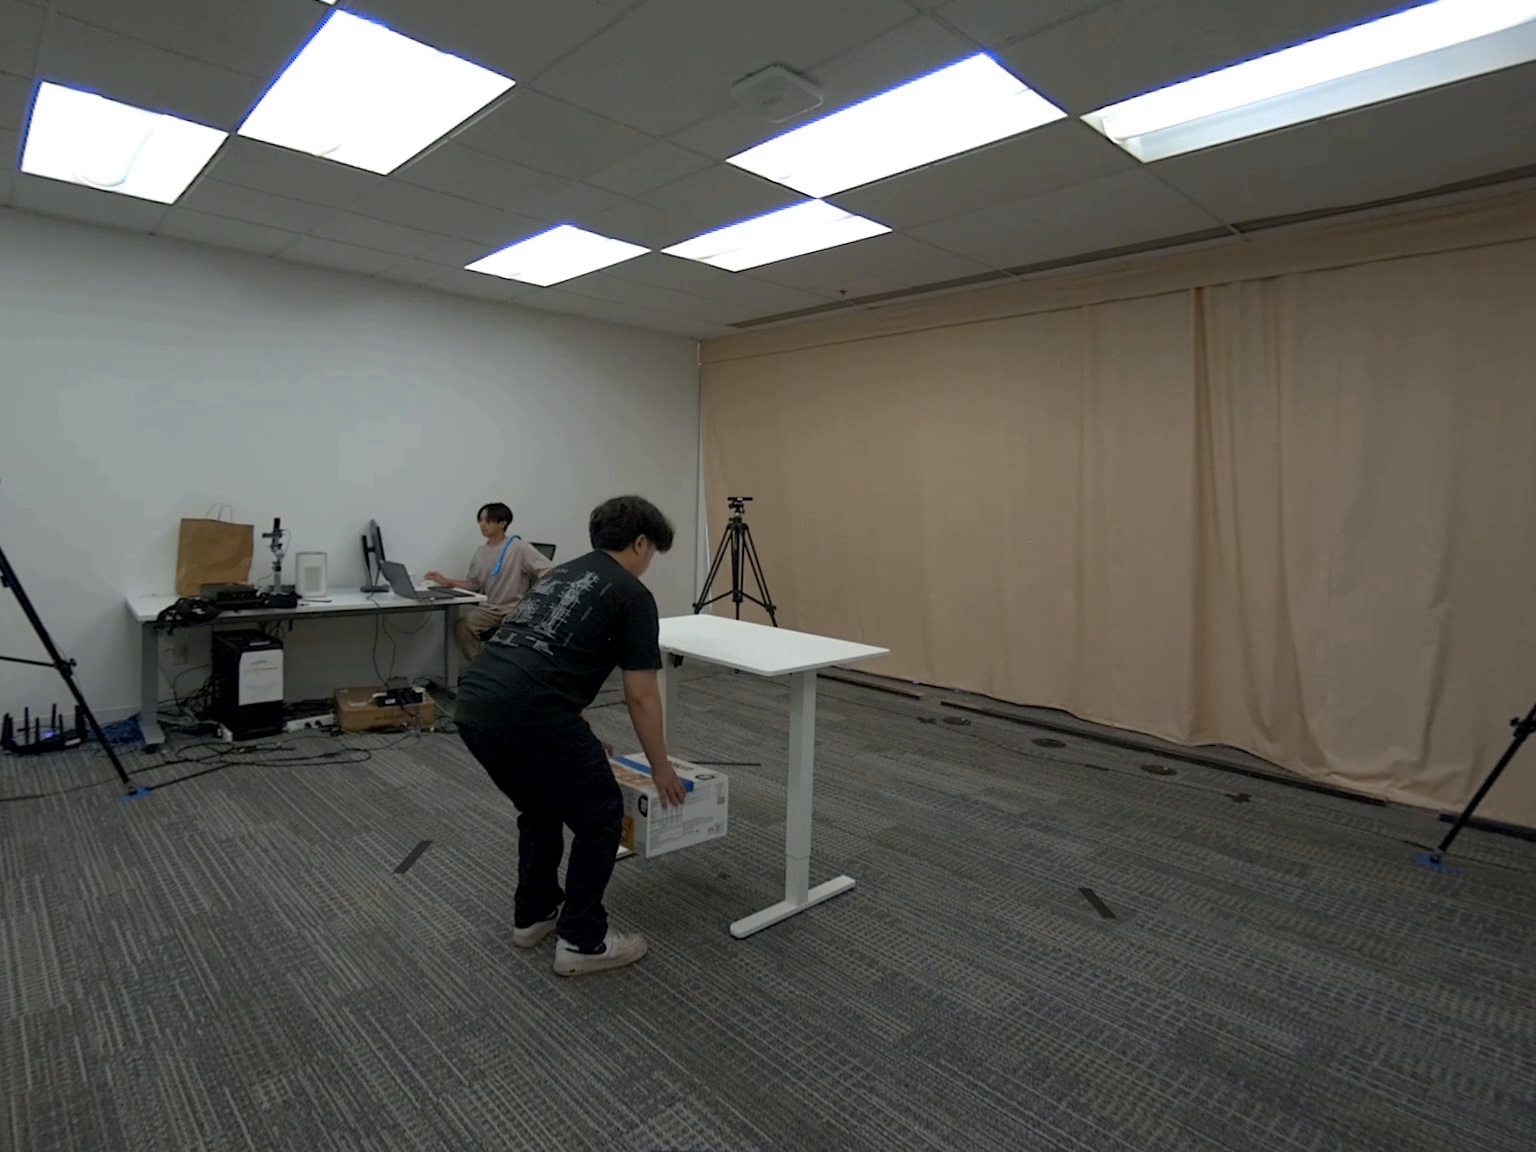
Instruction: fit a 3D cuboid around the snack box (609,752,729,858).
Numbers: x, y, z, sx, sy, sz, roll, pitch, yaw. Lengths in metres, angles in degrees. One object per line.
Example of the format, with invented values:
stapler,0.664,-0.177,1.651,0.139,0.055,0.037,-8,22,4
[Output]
snack box,-0.402,0.759,2.830,0.332,0.205,0.415,0,3,-45
